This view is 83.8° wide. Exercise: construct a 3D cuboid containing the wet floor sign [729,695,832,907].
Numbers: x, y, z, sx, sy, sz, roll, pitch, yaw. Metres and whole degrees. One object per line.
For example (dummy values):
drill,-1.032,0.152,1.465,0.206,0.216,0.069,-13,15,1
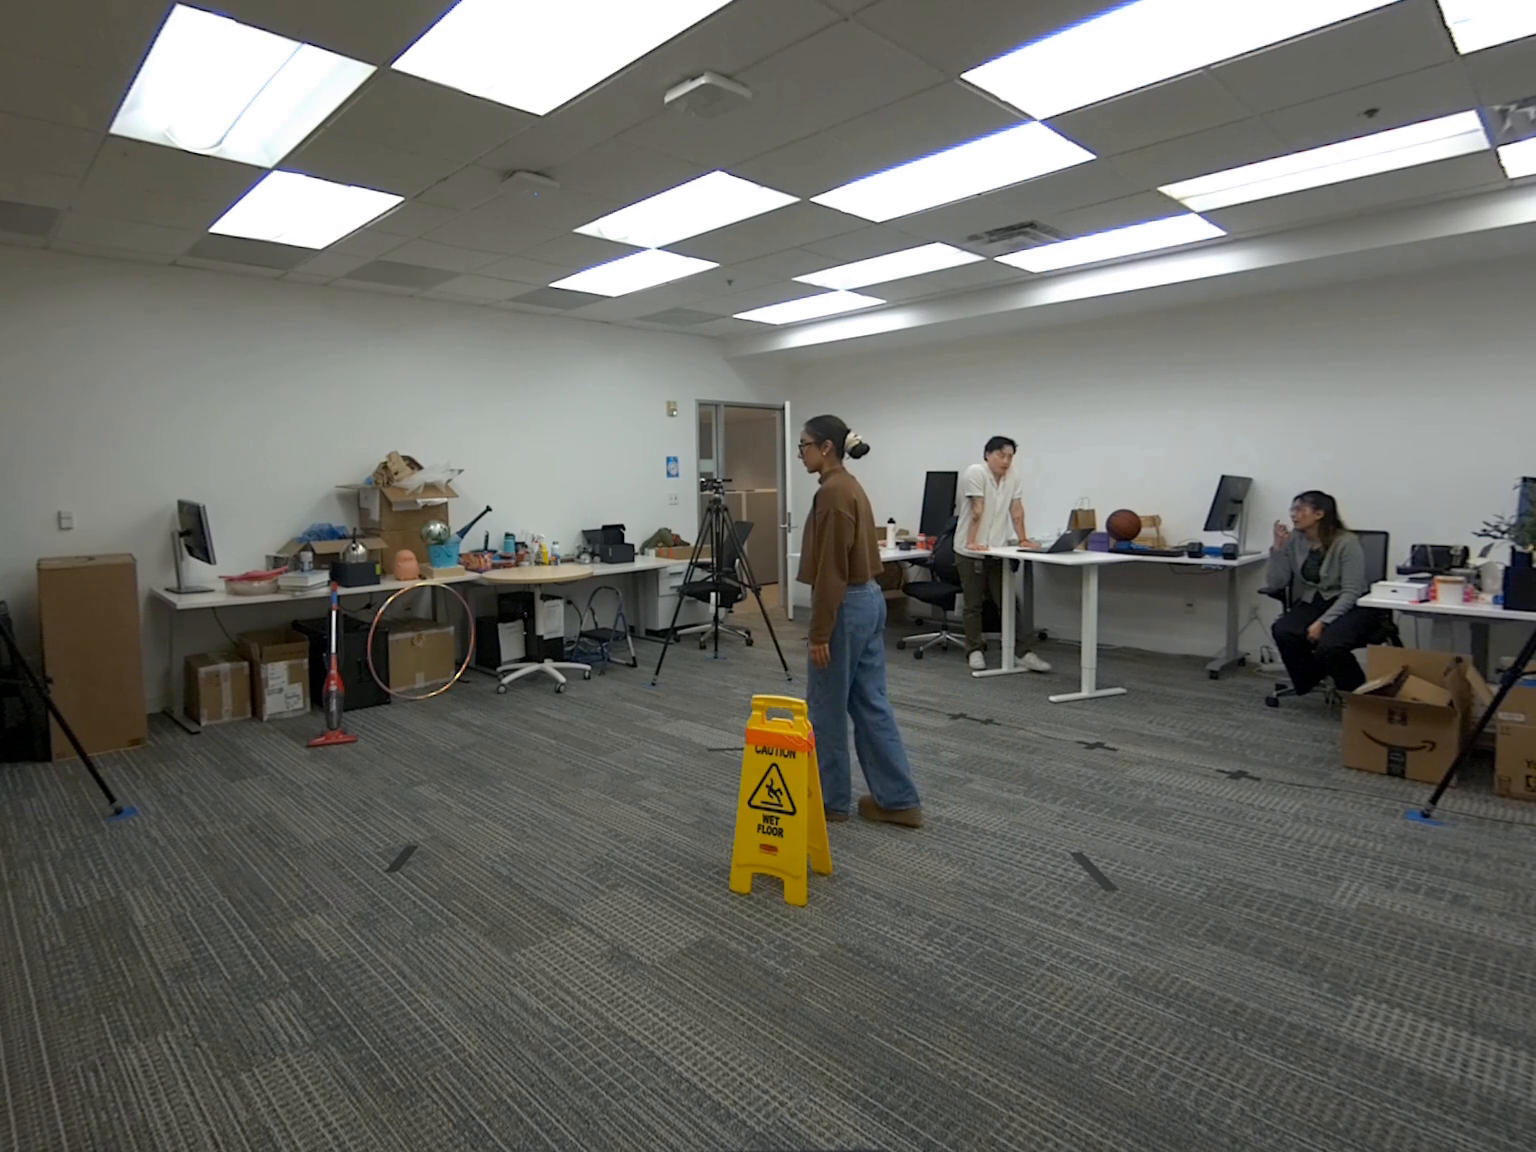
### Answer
wet floor sign,0.048,0.737,2.944,0.289,0.644,0.284,2,4,25
